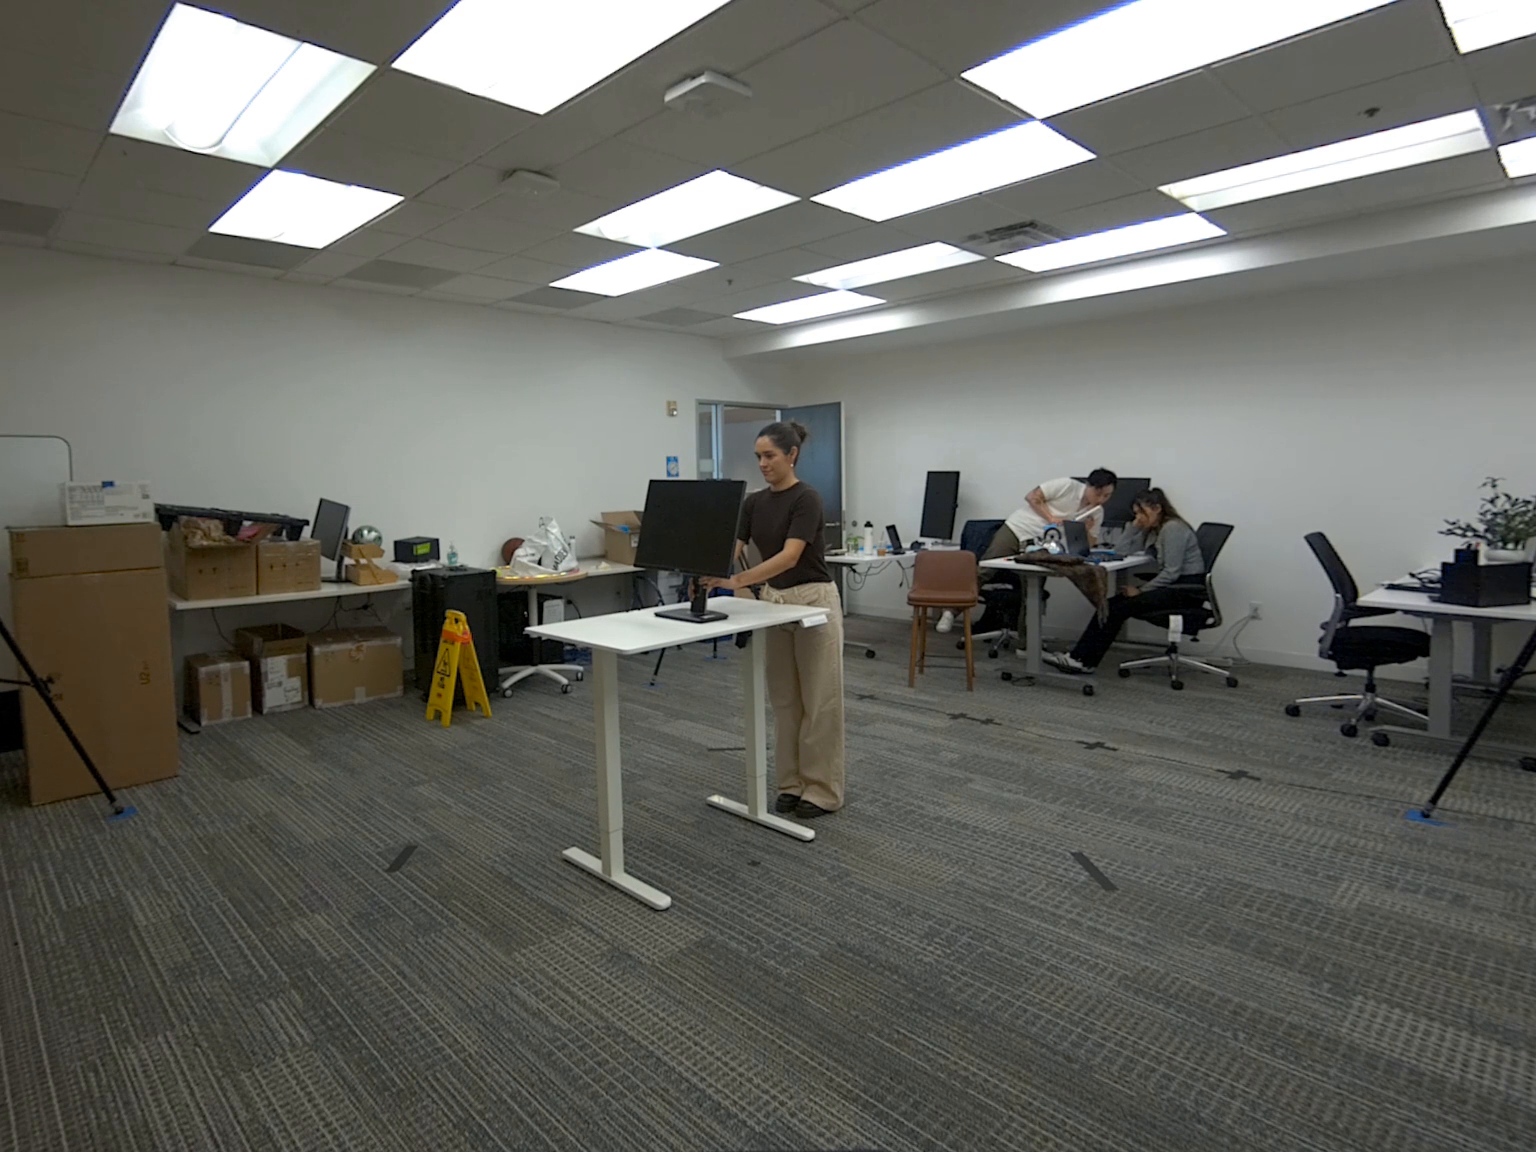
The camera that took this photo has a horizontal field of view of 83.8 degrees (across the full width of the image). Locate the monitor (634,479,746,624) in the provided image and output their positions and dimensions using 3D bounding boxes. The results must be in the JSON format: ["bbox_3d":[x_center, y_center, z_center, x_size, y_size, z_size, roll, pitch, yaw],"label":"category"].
[{"bbox_3d":[-0.280,-0.101,3.197,0.547,0.512,0.170,5,10,43],"label":"monitor"}]
